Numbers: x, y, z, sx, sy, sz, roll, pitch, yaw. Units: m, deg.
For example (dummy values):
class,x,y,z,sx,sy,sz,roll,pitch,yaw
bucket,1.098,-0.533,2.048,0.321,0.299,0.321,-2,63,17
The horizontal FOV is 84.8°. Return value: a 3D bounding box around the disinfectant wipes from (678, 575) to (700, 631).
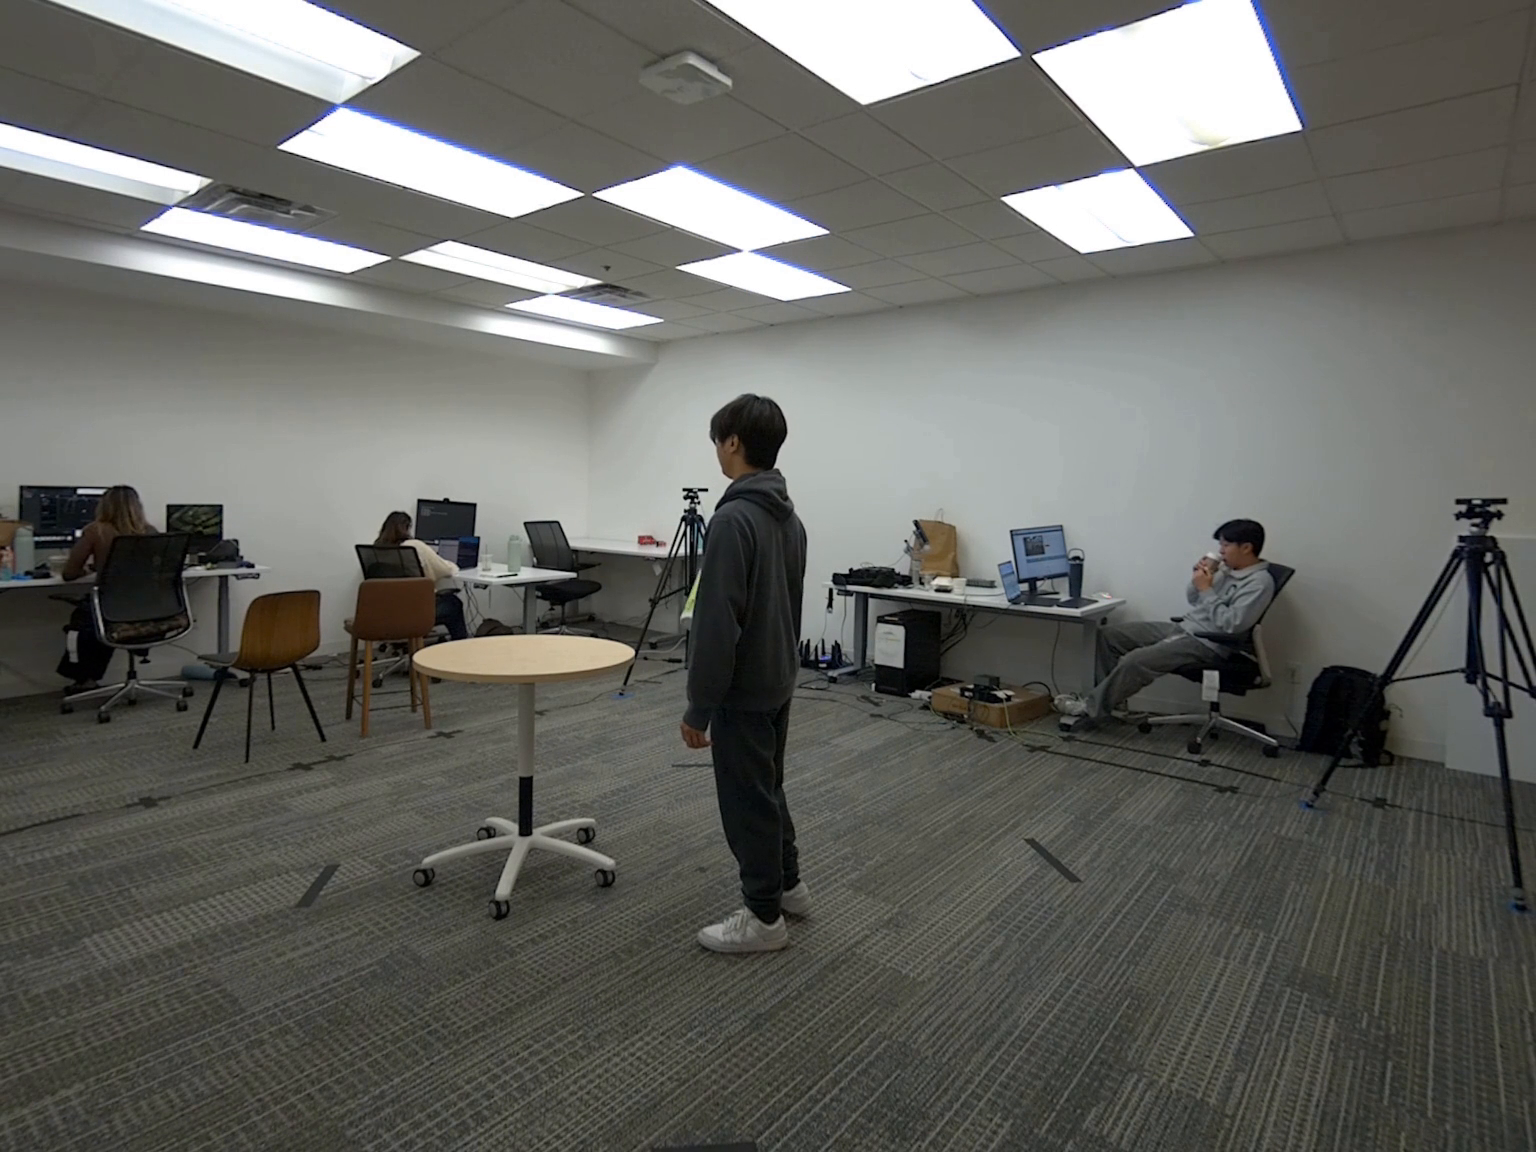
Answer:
class,x,y,z,sx,sy,sz,roll,pitch,yaw
disinfectant wipes,-0.228,0.080,2.939,0.119,0.221,0.115,13,-29,6
